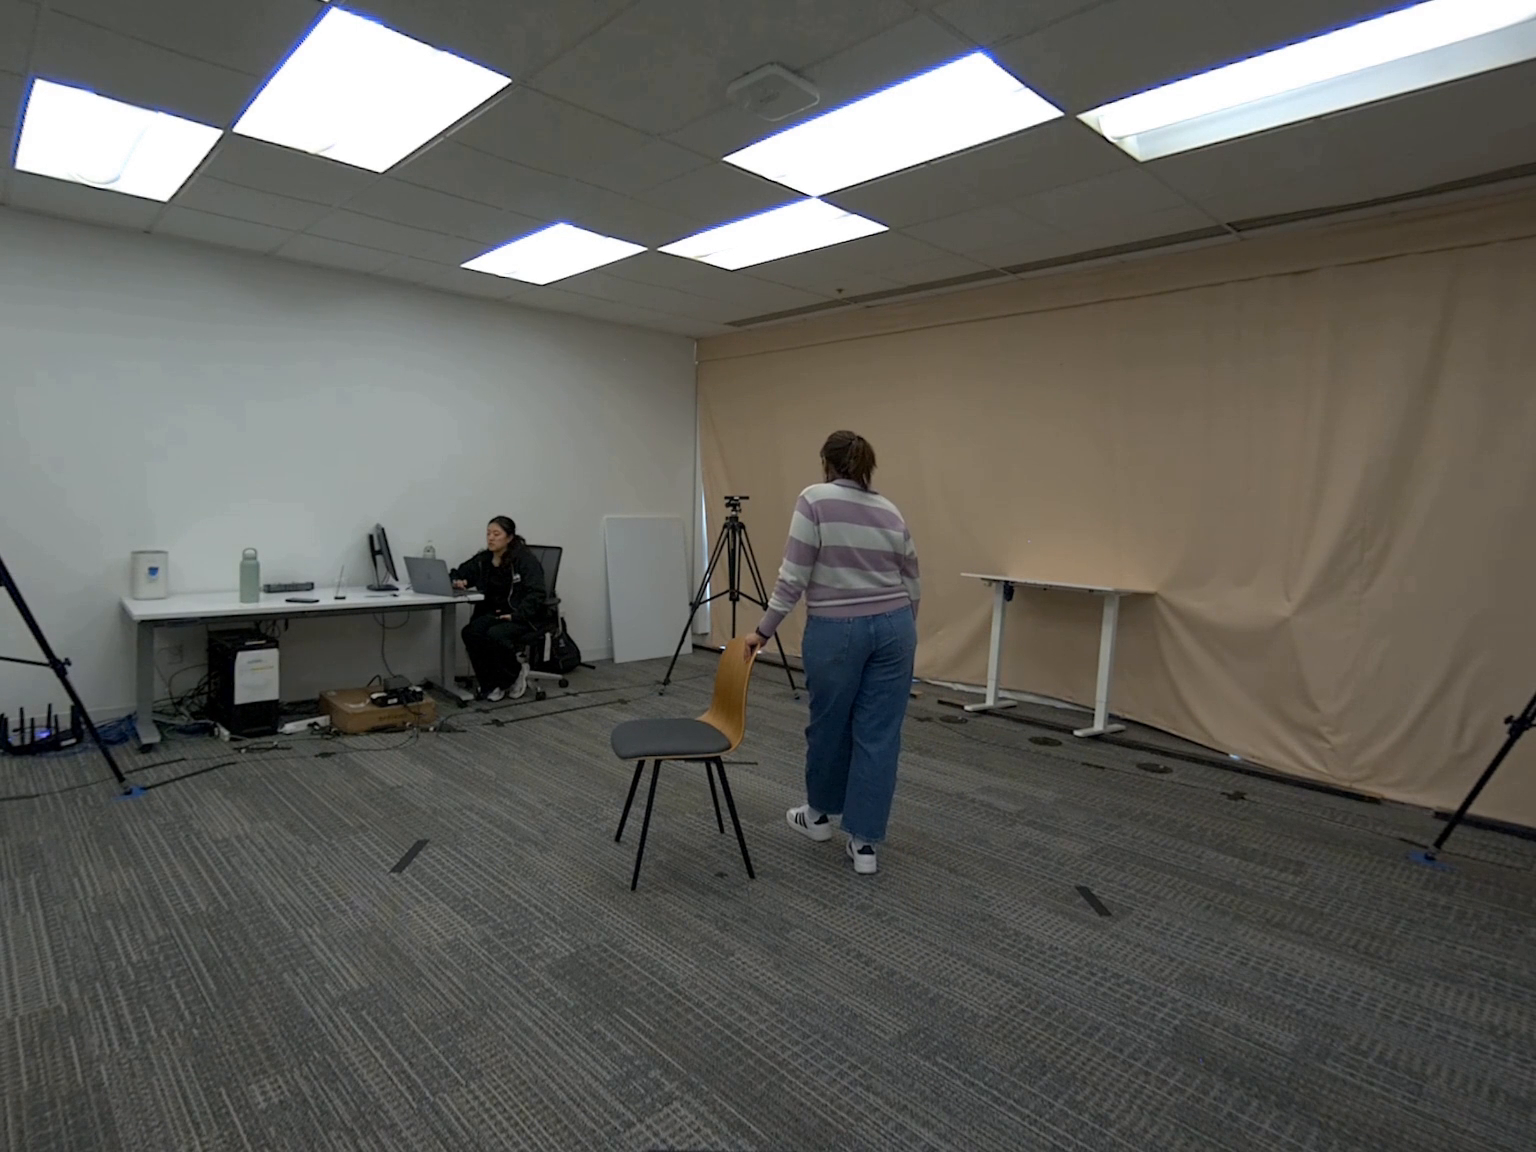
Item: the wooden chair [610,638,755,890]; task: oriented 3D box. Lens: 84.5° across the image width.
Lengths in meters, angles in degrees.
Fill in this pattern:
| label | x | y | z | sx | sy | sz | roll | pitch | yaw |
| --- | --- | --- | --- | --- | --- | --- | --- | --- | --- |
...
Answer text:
| label | x | y | z | sx | sy | sz | roll | pitch | yaw |
| --- | --- | --- | --- | --- | --- | --- | --- | --- | --- |
| wooden chair | -0.334 | 0.662 | 3.193 | 0.516 | 0.876 | 0.485 | 5 | 2 | -17 |
